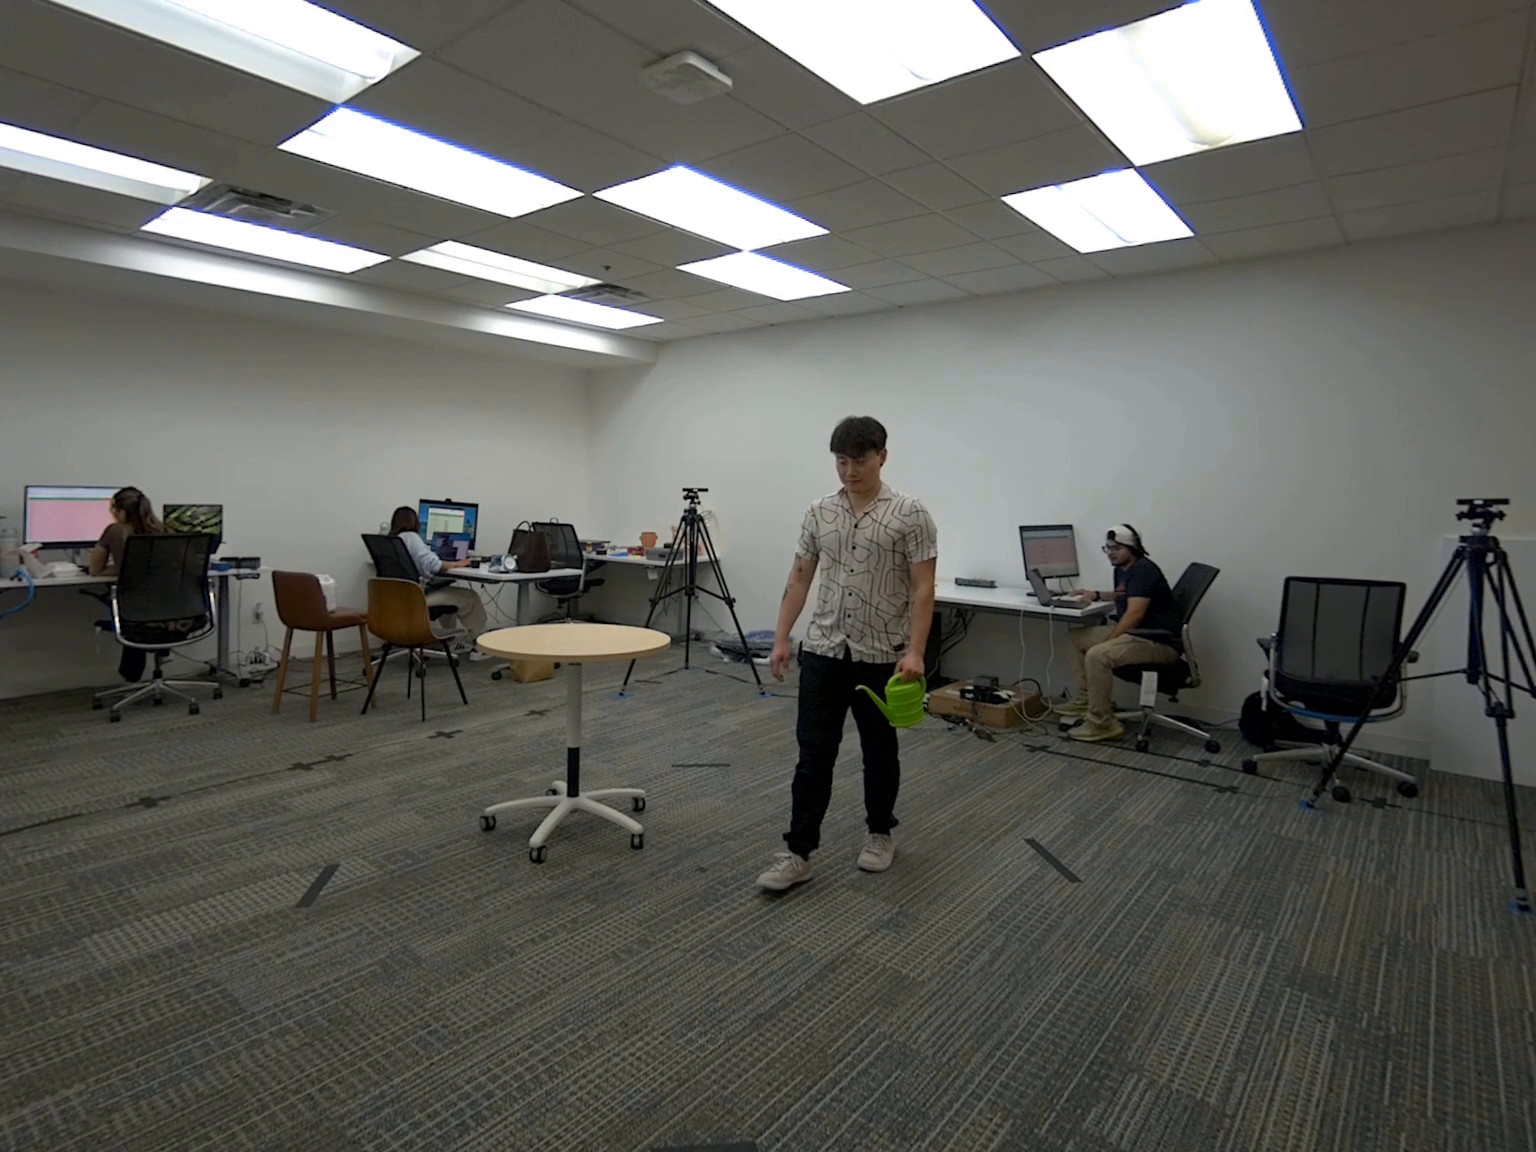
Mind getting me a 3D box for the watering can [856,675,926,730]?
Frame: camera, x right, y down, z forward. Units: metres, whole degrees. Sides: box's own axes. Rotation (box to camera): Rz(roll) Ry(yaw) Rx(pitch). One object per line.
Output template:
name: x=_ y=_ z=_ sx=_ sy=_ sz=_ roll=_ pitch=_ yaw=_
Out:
watering can: x=0.425 y=0.420 z=2.896 sx=0.275 sy=0.176 sz=0.100 roll=-10 pitch=6 yaw=-15
